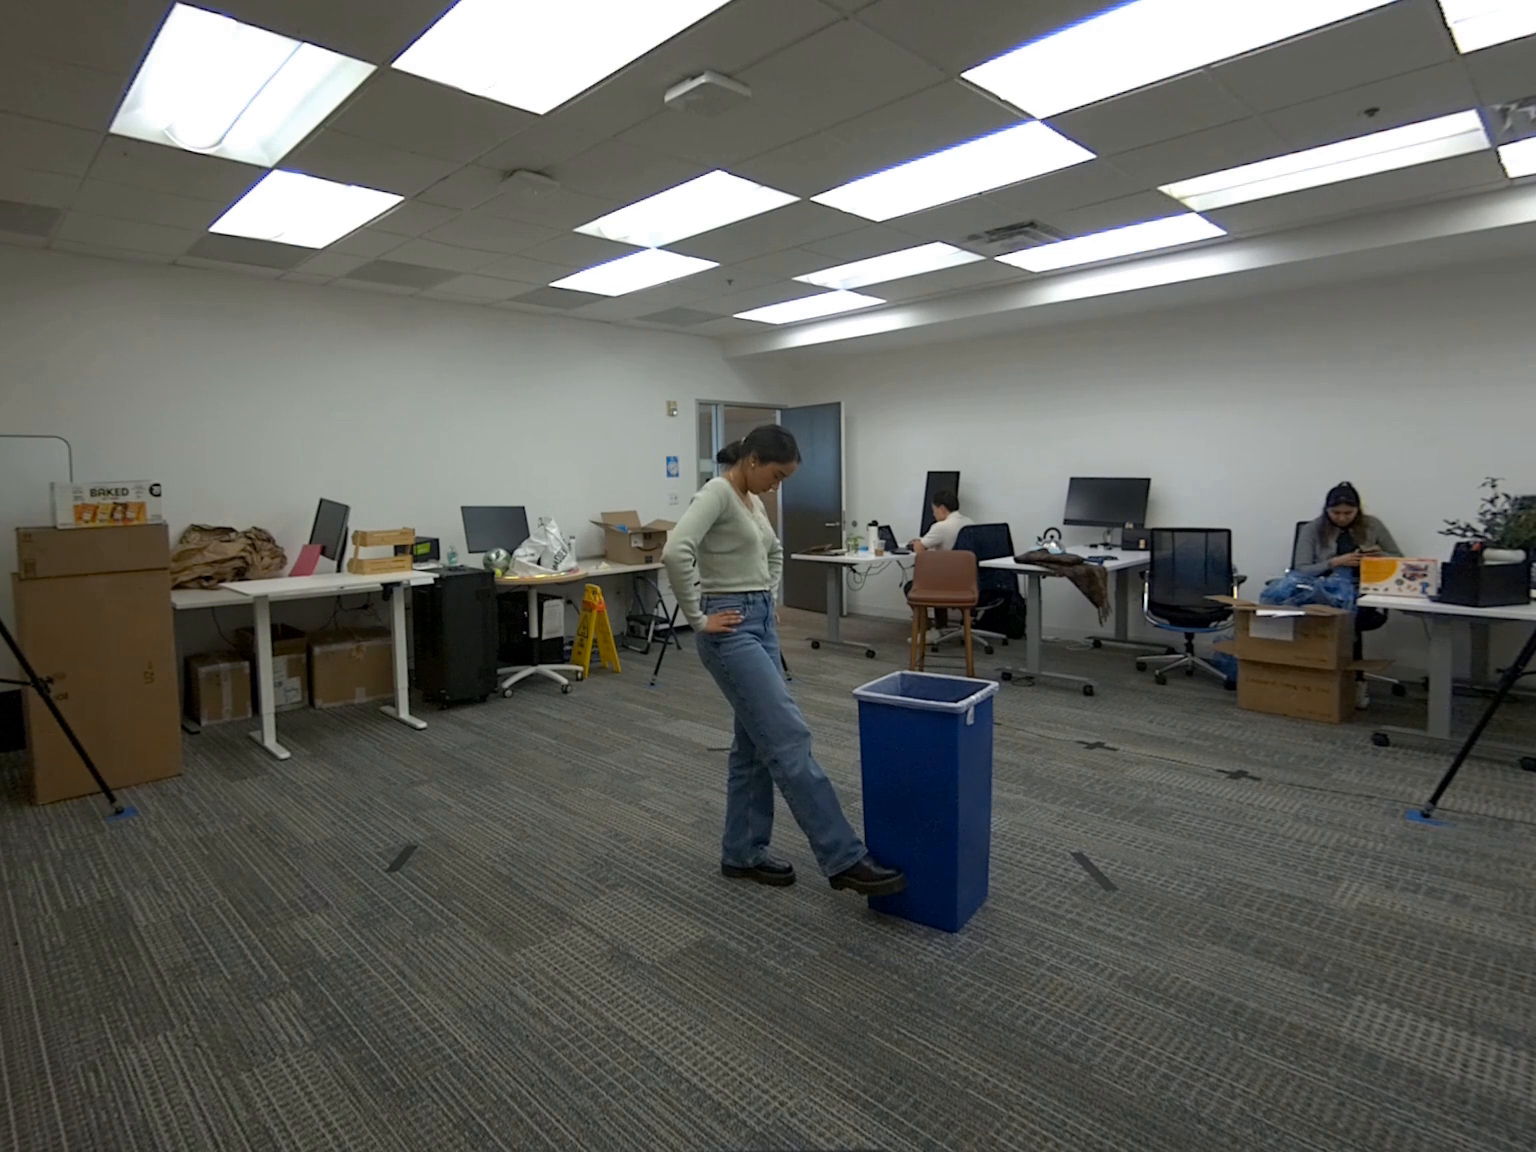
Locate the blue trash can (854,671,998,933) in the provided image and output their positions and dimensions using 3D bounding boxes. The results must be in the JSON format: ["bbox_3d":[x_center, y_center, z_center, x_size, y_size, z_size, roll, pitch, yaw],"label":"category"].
[{"bbox_3d":[0.531,0.714,2.786,0.389,0.711,0.365,1,5,36],"label":"blue trash can"}]
